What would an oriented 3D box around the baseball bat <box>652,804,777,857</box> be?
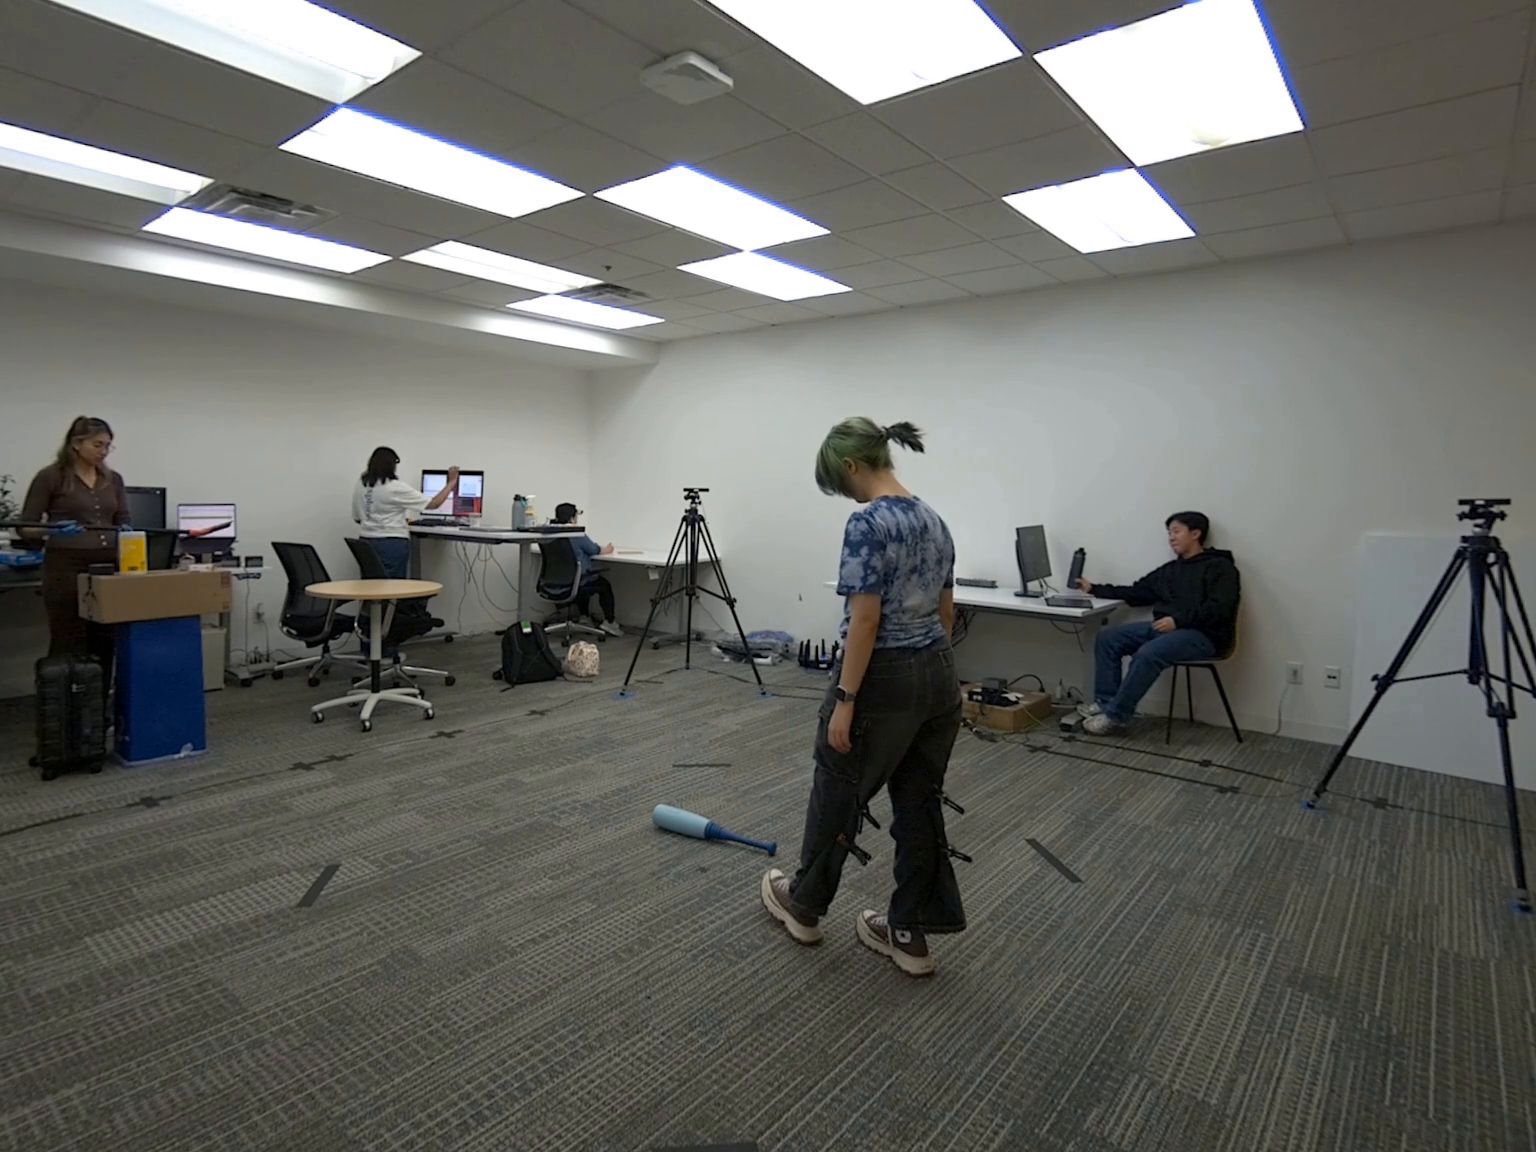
[{"bbox_3d":[-0.229,1.009,3.367,0.559,0.088,0.087,7,7,27],"label":"baseball bat"}]
